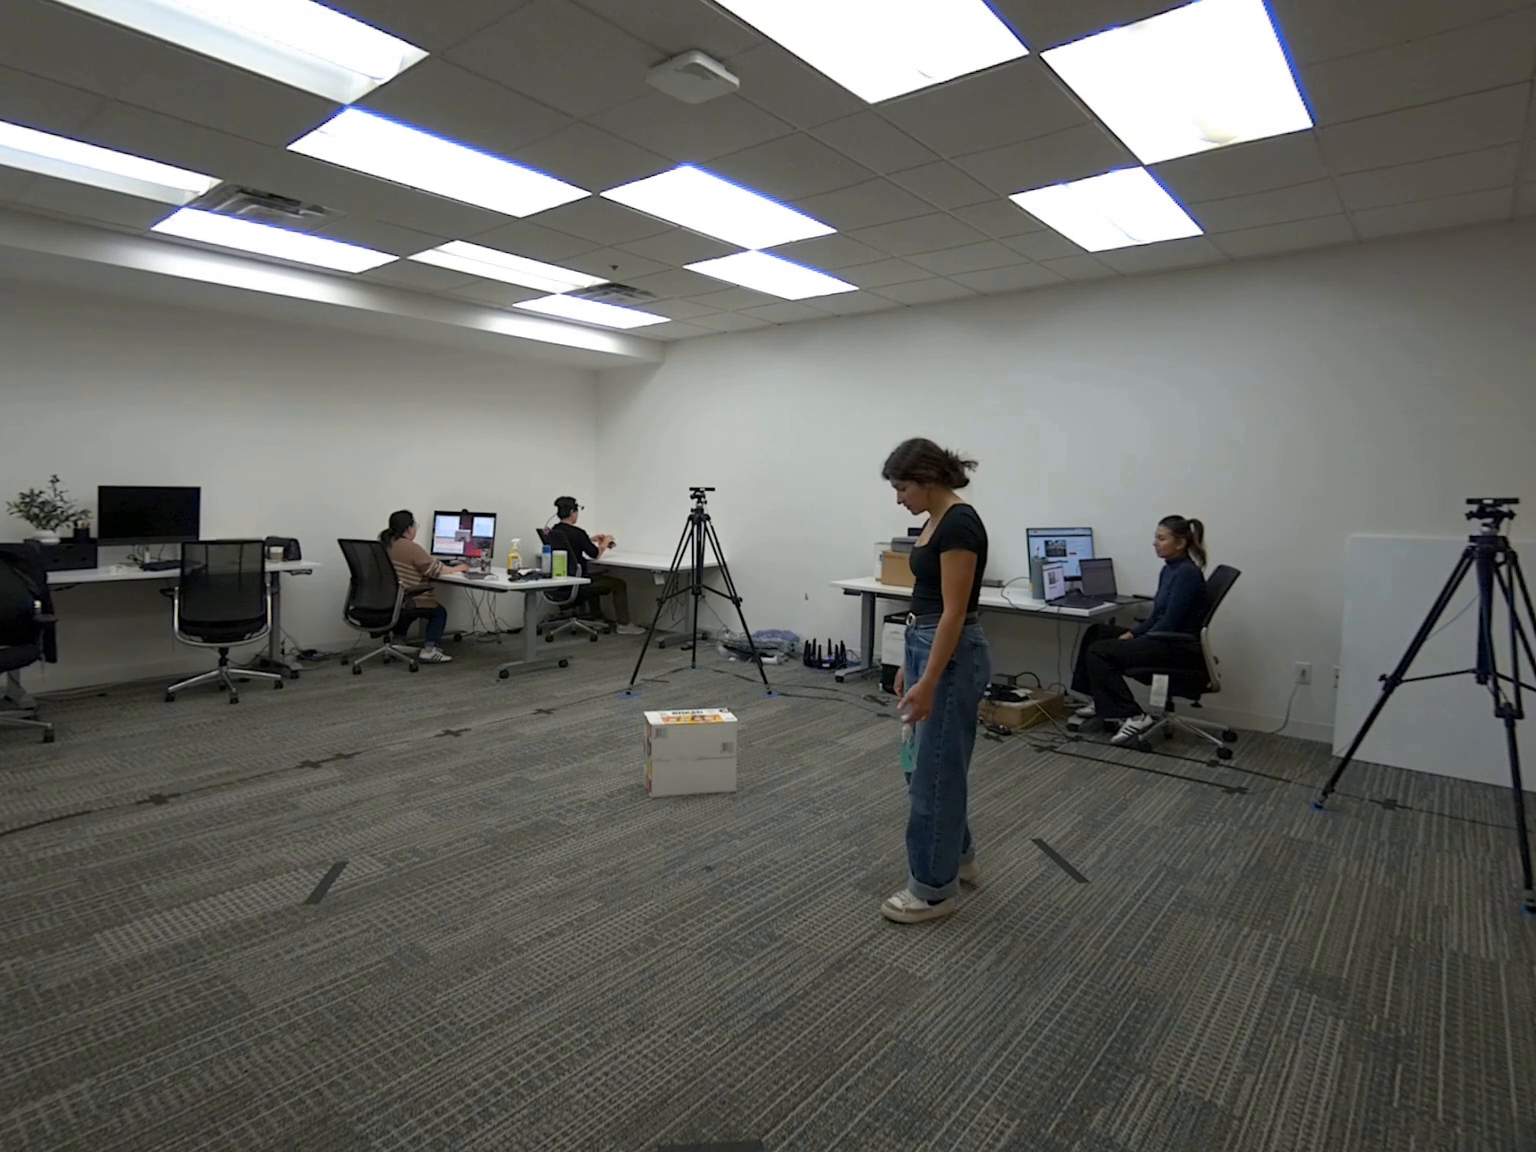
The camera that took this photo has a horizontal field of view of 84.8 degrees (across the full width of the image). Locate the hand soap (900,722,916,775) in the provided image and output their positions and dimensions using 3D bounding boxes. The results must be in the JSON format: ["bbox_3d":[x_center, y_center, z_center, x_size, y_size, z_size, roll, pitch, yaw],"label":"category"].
[{"bbox_3d":[0.433,0.517,2.642,0.045,0.167,0.082,6,8,29],"label":"hand soap"}]
